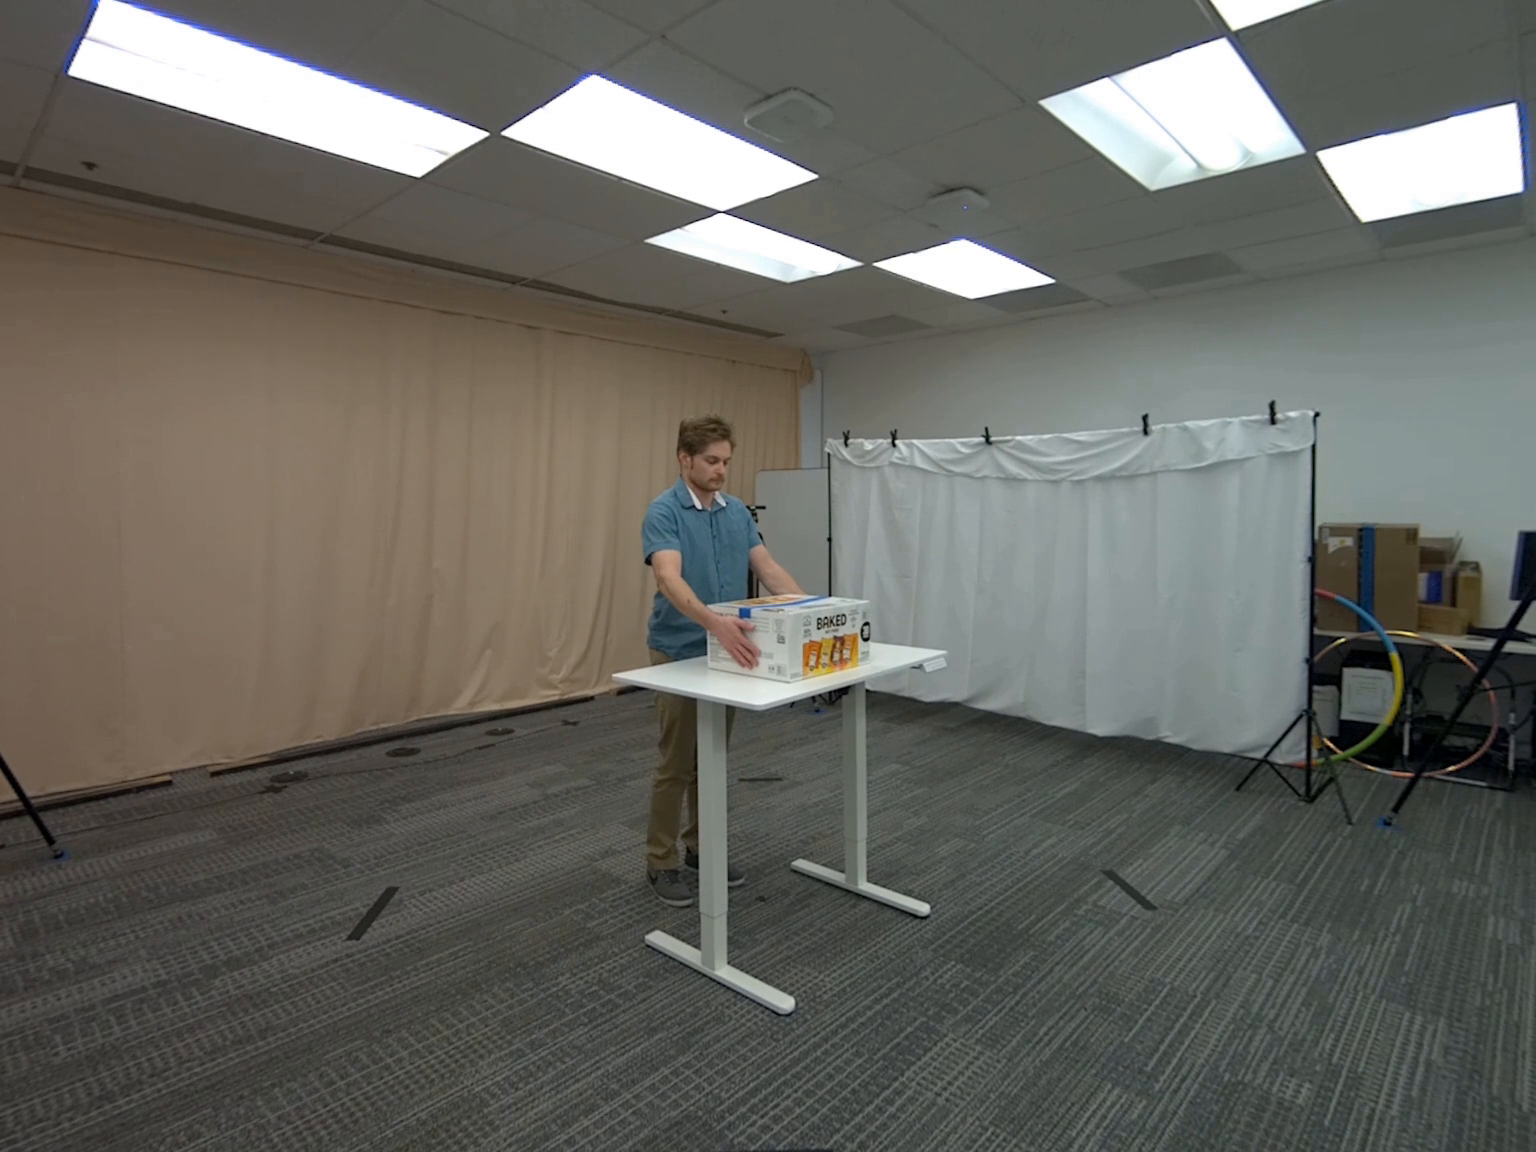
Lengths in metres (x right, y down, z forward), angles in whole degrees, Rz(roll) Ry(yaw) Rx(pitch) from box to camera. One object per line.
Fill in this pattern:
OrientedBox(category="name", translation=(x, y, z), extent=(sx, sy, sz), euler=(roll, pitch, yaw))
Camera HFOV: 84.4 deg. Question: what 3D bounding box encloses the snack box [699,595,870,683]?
OrientedBox(category="snack box", translation=(0.073, 0.186, 2.664), extent=(0.351, 0.205, 0.393), euler=(2, 5, 43))
